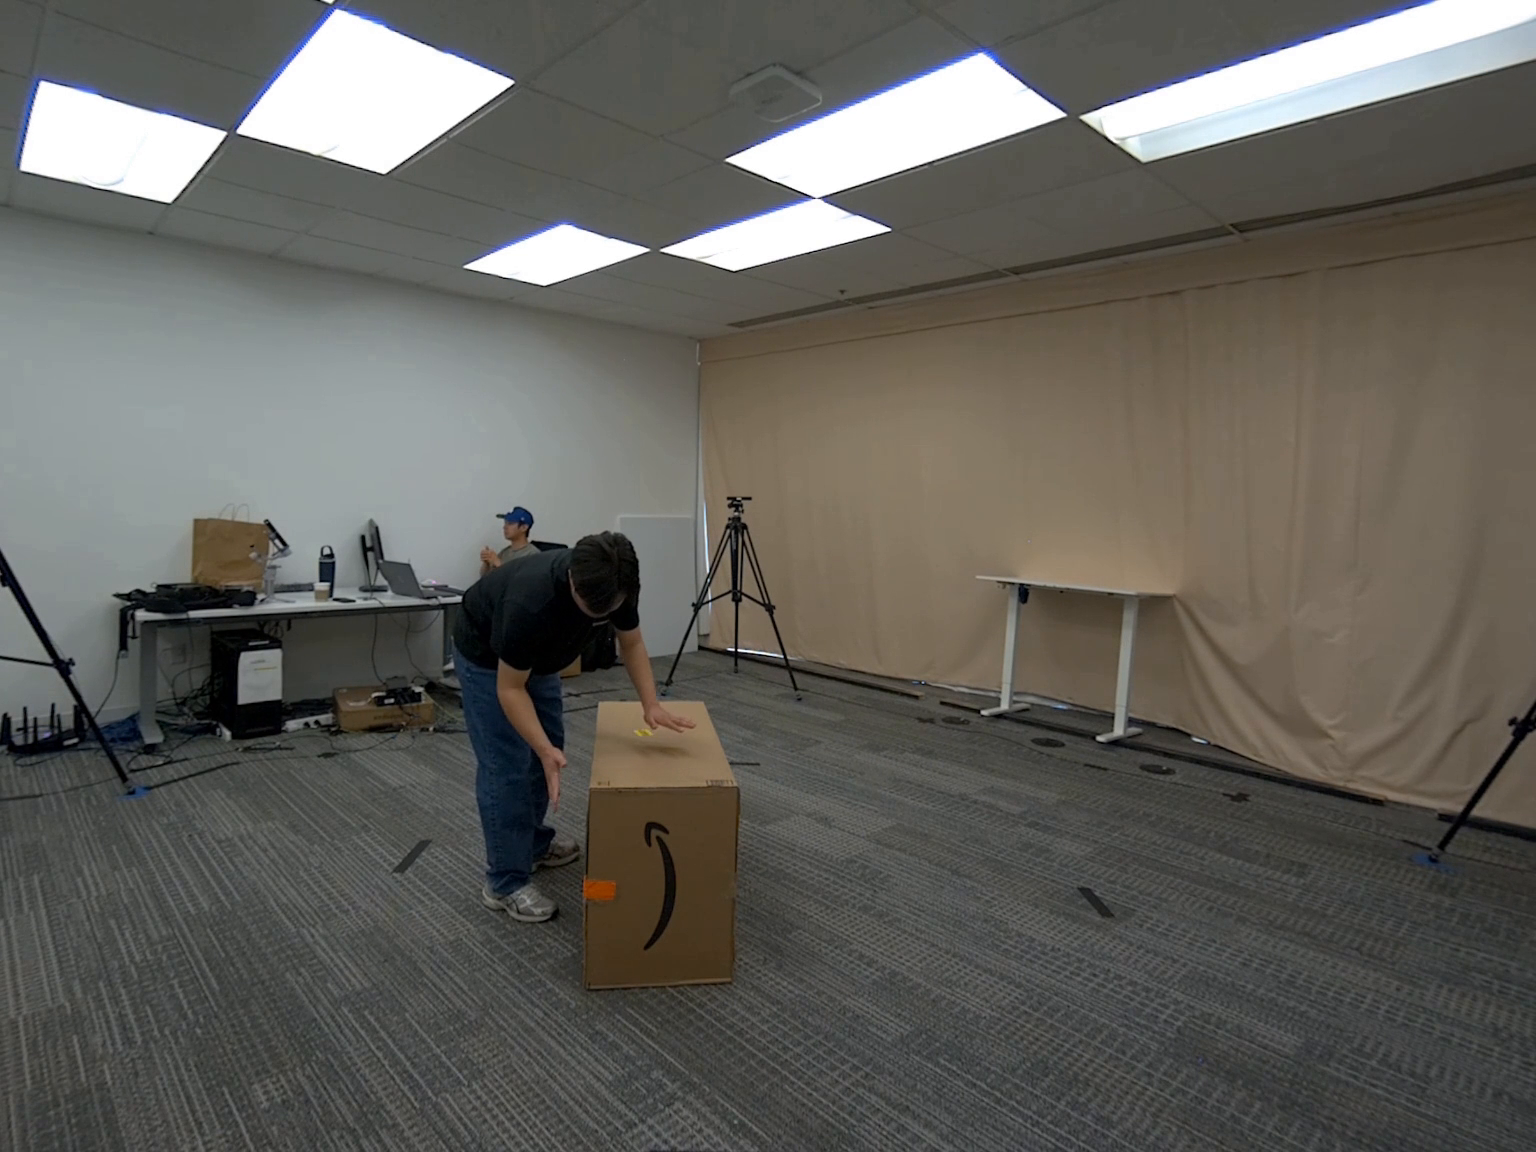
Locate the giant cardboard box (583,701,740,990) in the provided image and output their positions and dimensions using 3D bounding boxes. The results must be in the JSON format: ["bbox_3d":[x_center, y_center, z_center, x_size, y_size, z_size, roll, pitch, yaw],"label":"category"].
[{"bbox_3d":[-0.392,0.831,2.880,0.443,0.582,1.037,0,4,-10],"label":"giant cardboard box"}]
